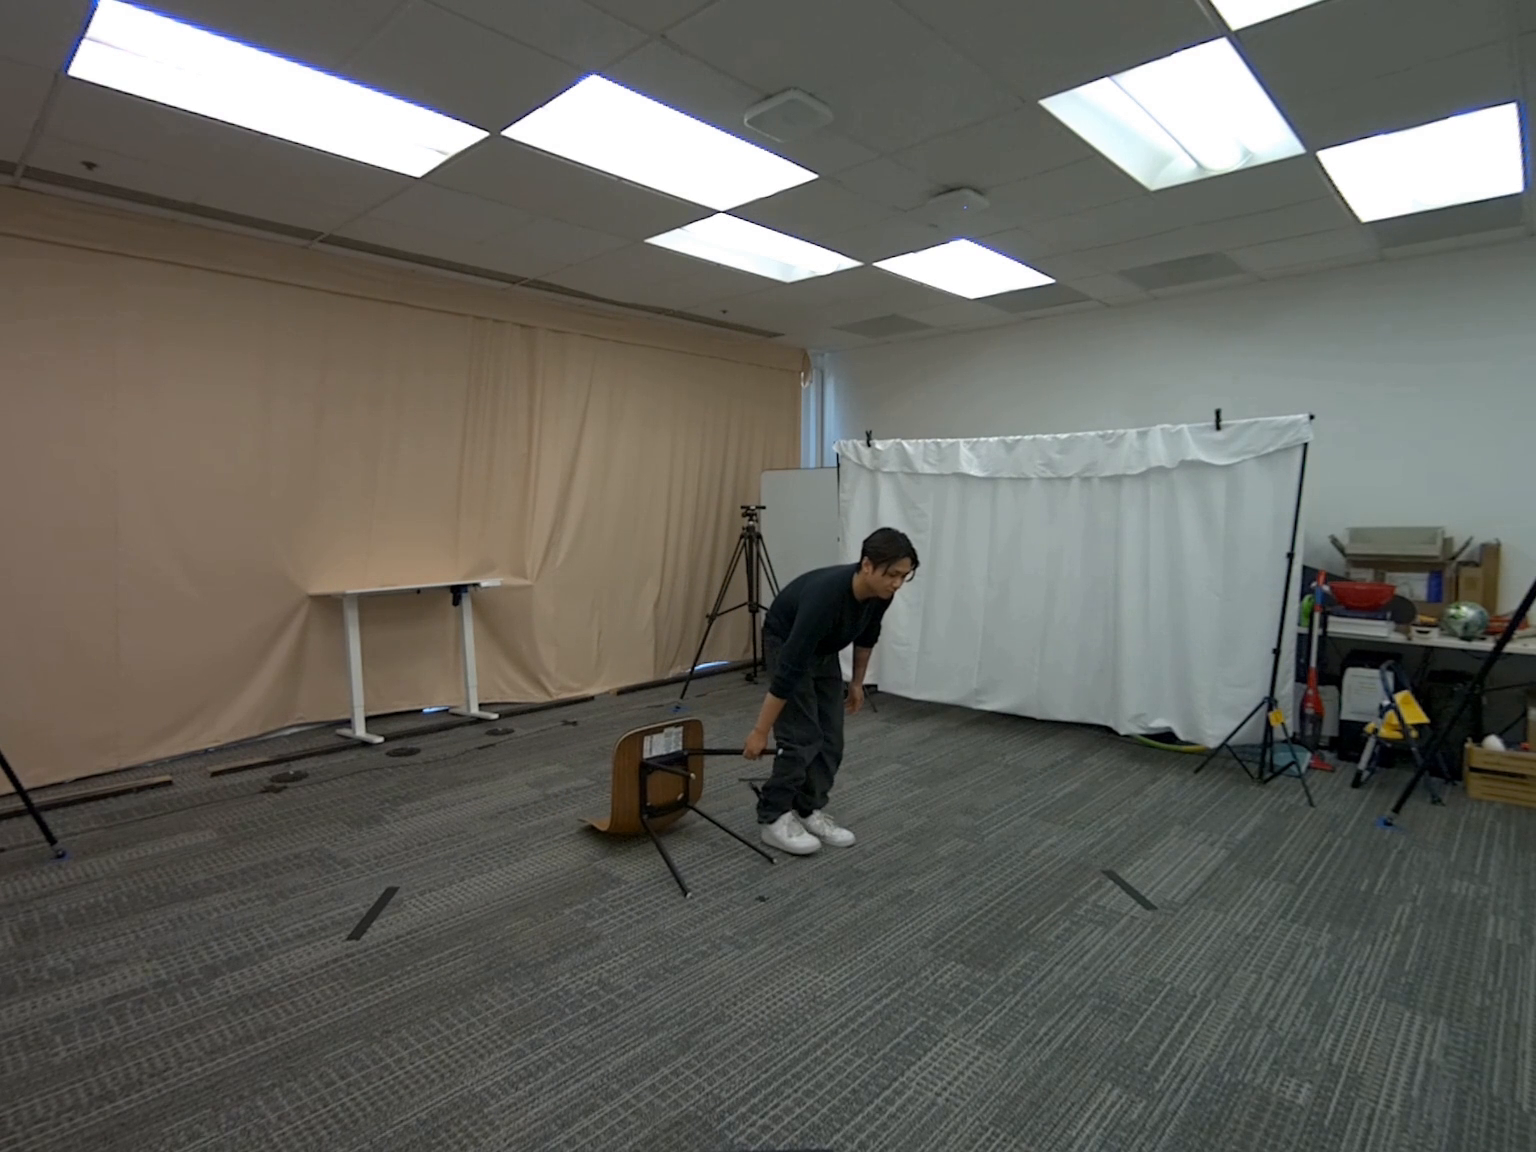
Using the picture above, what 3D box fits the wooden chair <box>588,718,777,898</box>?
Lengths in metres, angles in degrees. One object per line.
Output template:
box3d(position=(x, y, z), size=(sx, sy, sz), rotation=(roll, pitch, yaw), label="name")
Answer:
box3d(position=(-0.412, 0.852, 3.433), size=(0.463, 0.522, 0.906), rotation=(-4, 4, -42), label="wooden chair")
